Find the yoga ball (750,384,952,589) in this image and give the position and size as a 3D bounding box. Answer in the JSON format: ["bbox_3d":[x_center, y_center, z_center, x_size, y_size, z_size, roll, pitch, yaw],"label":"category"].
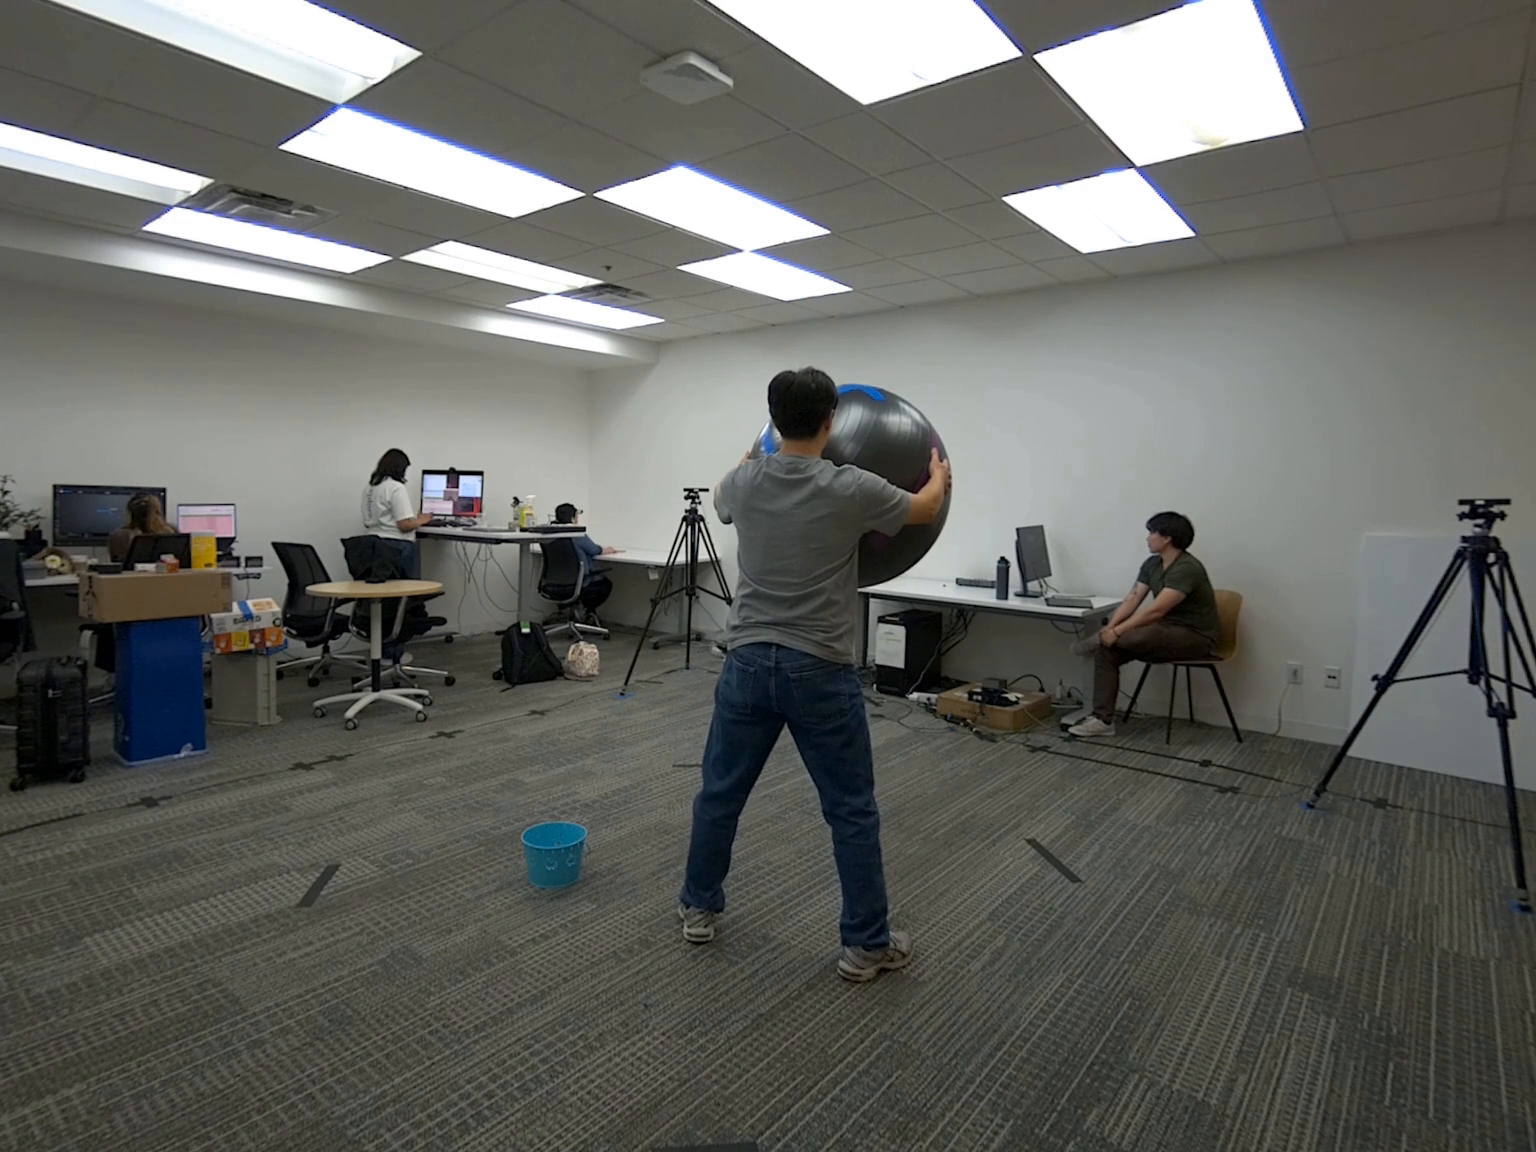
[{"bbox_3d":[0.290,-0.311,3.156,0.757,0.755,0.762,1,4,-2],"label":"yoga ball"}]
